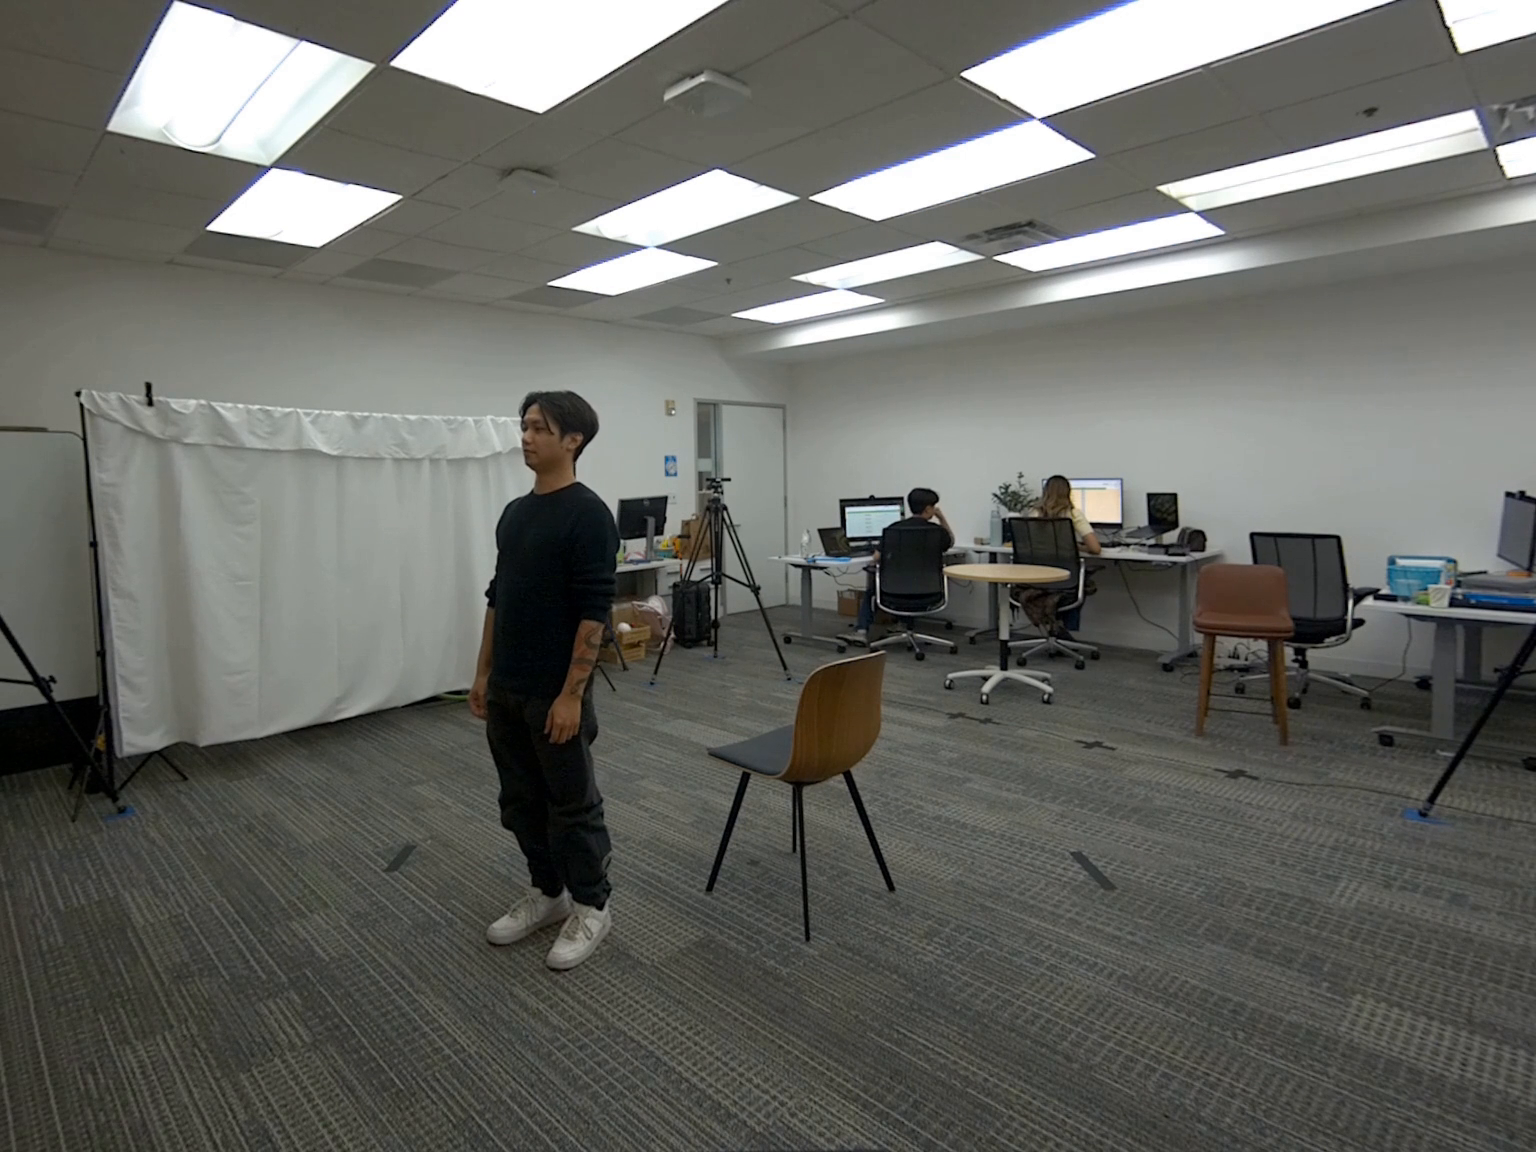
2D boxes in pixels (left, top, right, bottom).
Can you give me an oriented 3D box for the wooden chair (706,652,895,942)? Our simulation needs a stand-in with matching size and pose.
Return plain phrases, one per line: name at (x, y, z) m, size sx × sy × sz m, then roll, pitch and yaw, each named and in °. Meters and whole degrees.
wooden chair at (0.097, 0.642, 2.860) m, size 0.540 × 0.871 × 0.466 m, roll 9°, pitch 11°, yaw 44°
